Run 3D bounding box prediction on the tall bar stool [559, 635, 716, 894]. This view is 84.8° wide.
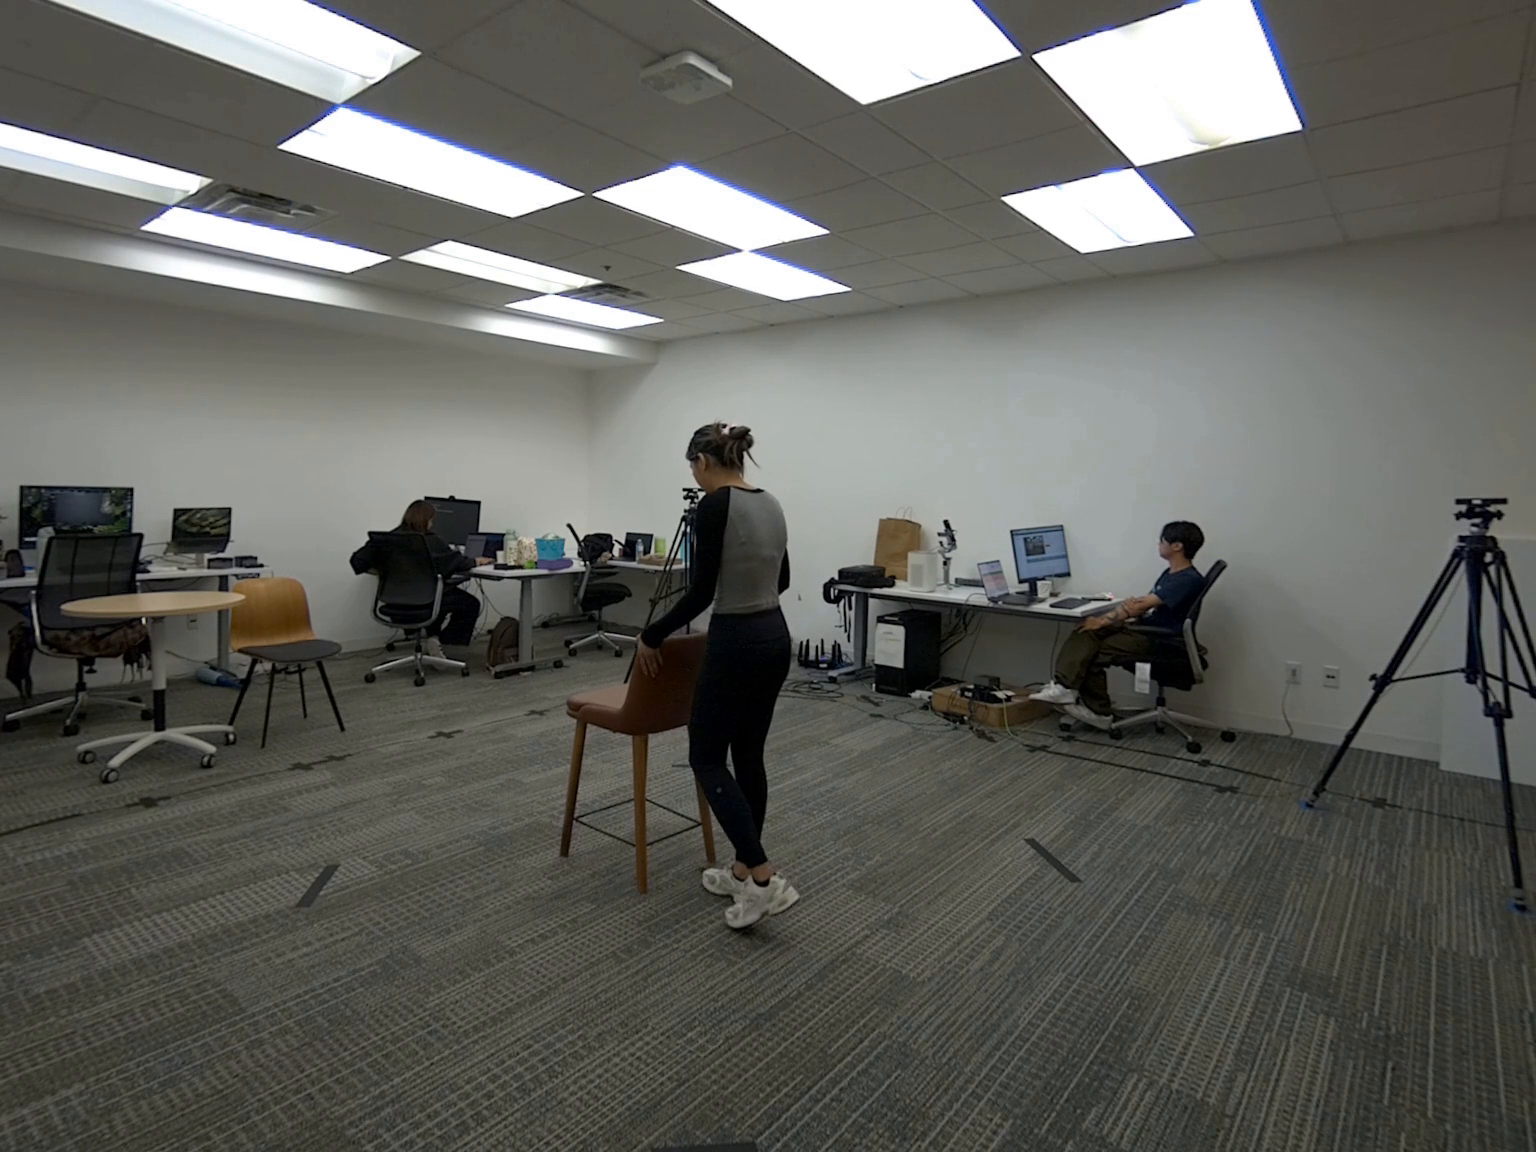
[{"bbox_3d":[-0.482,0.622,3.169,0.484,0.887,0.442,6,5,41],"label":"tall bar stool"}]
